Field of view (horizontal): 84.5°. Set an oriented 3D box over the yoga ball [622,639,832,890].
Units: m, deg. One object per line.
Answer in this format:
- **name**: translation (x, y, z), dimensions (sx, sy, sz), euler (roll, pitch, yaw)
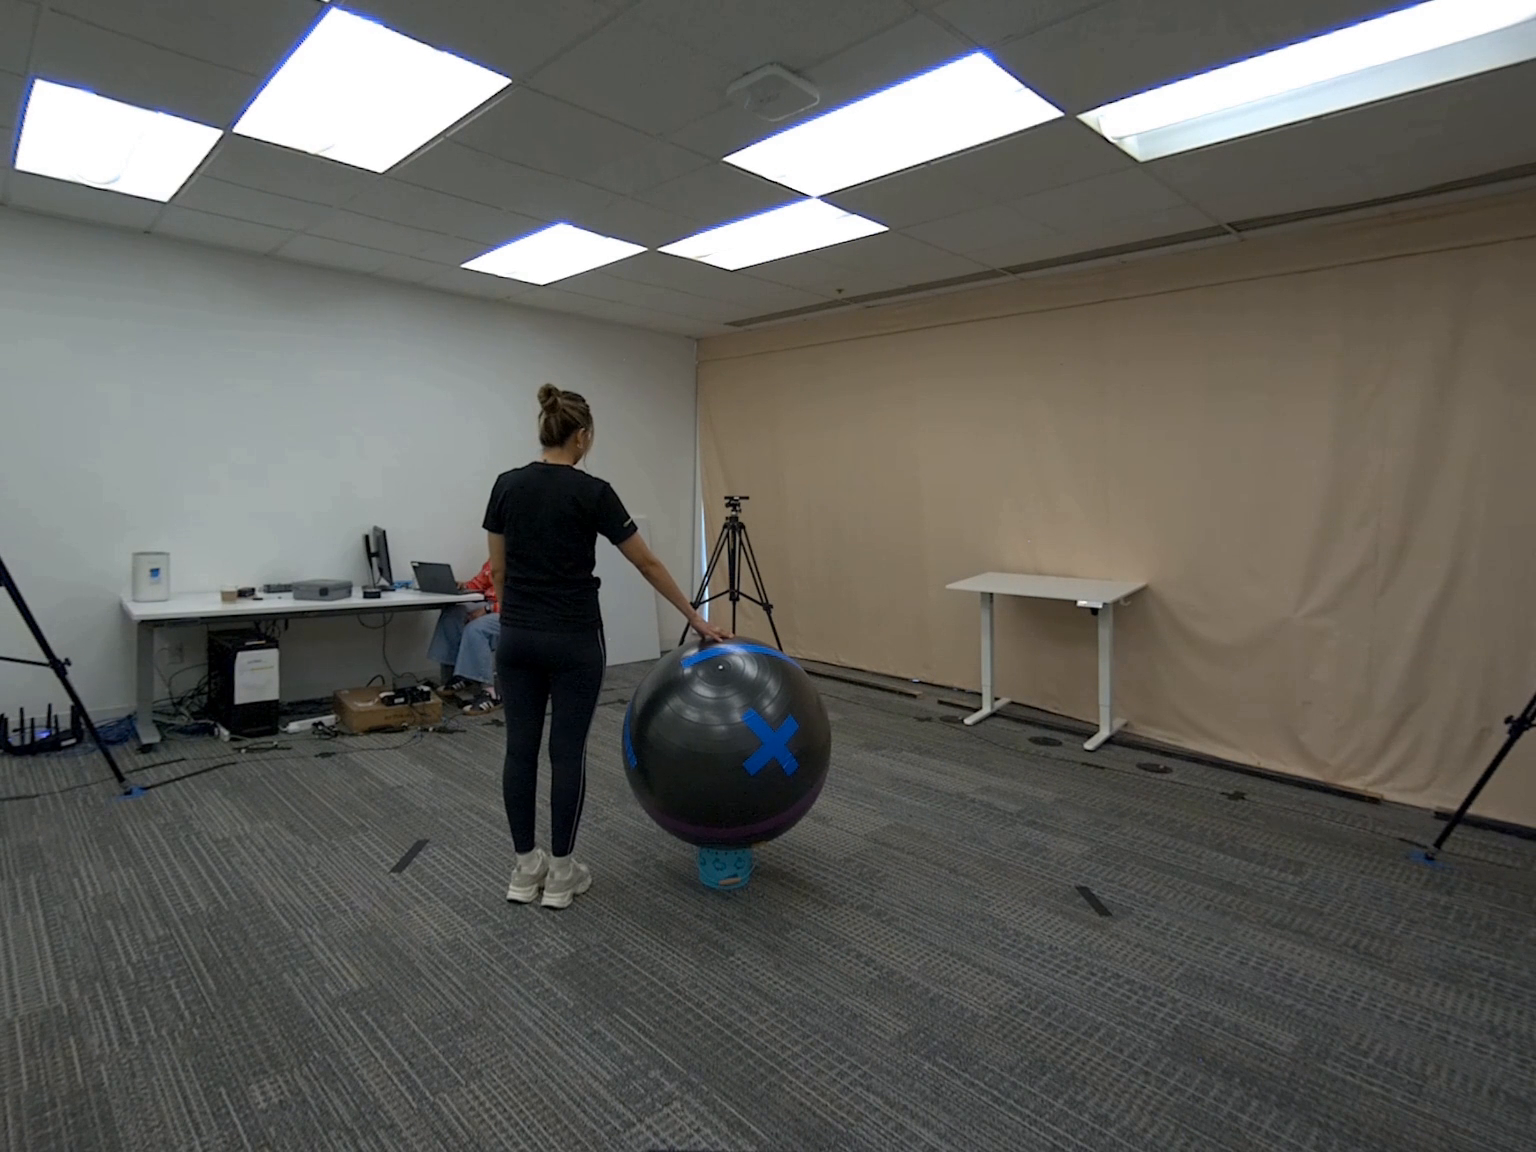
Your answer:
- **yoga ball**: translation (-0.156, 0.601, 3.049), dimensions (0.757, 0.756, 0.761), euler (1, 4, -1)
